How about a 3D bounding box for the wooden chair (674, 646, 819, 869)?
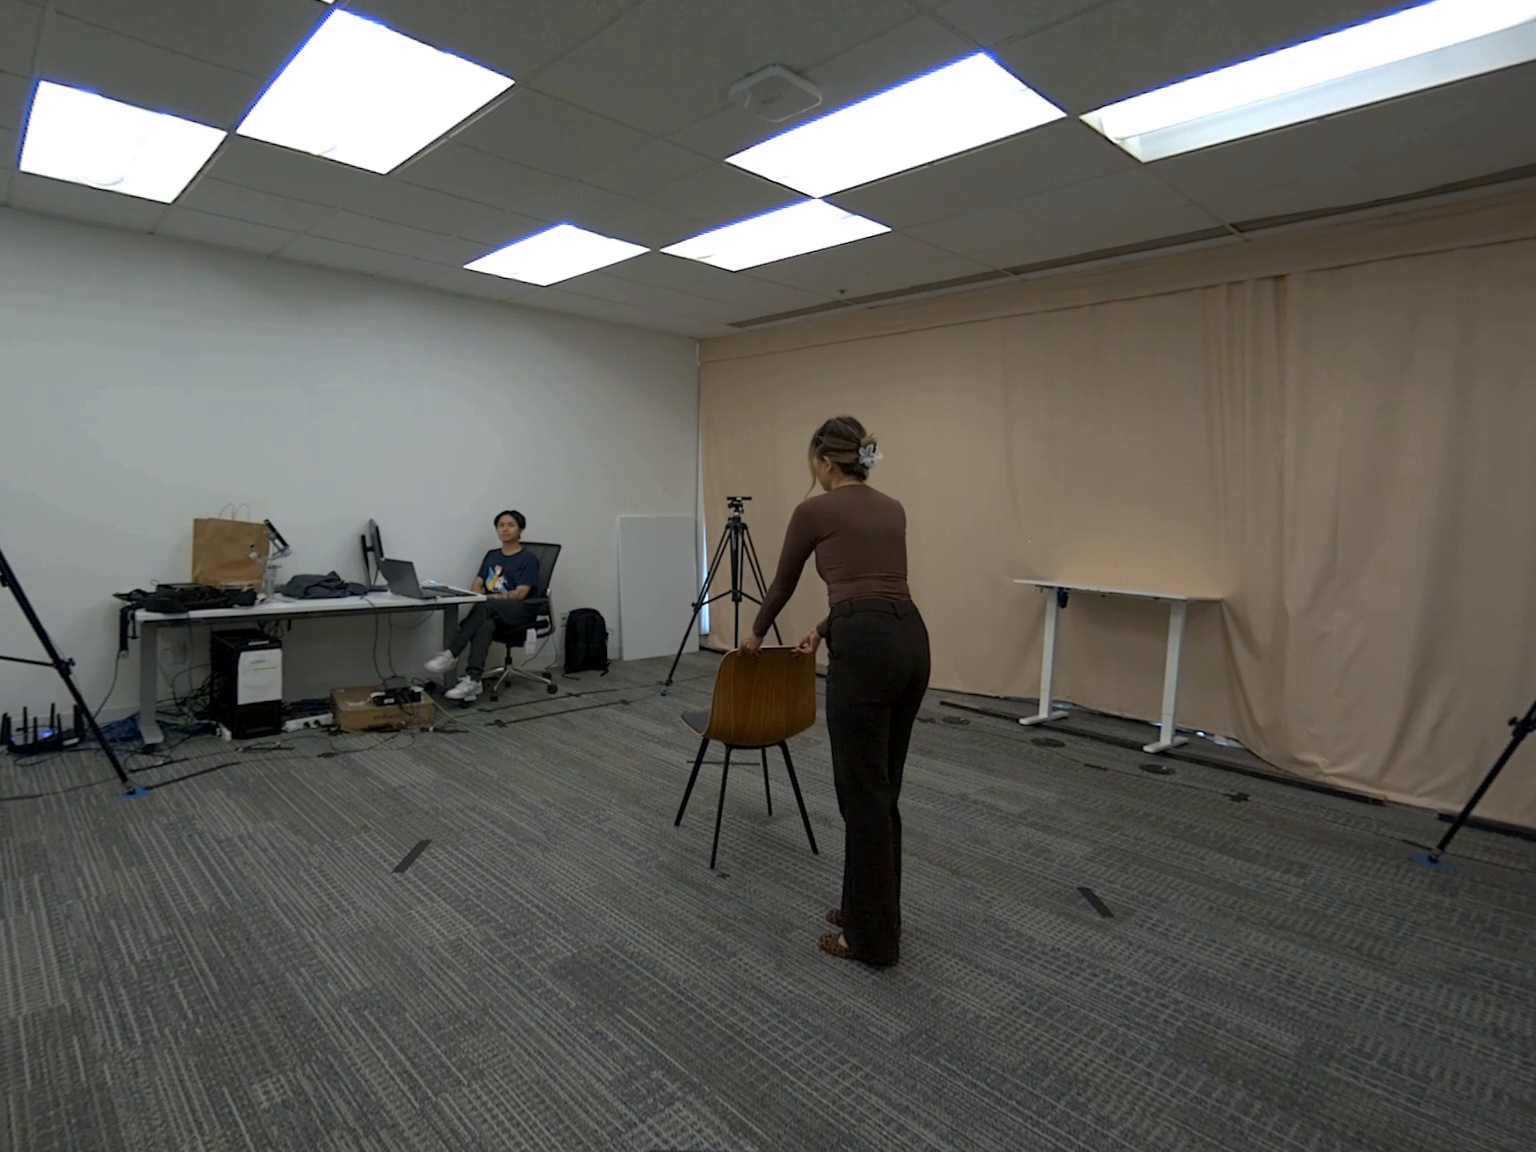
[{"bbox_3d":[-0.096,0.653,3.420,0.470,0.873,0.534,0,8,-23],"label":"wooden chair"}]
